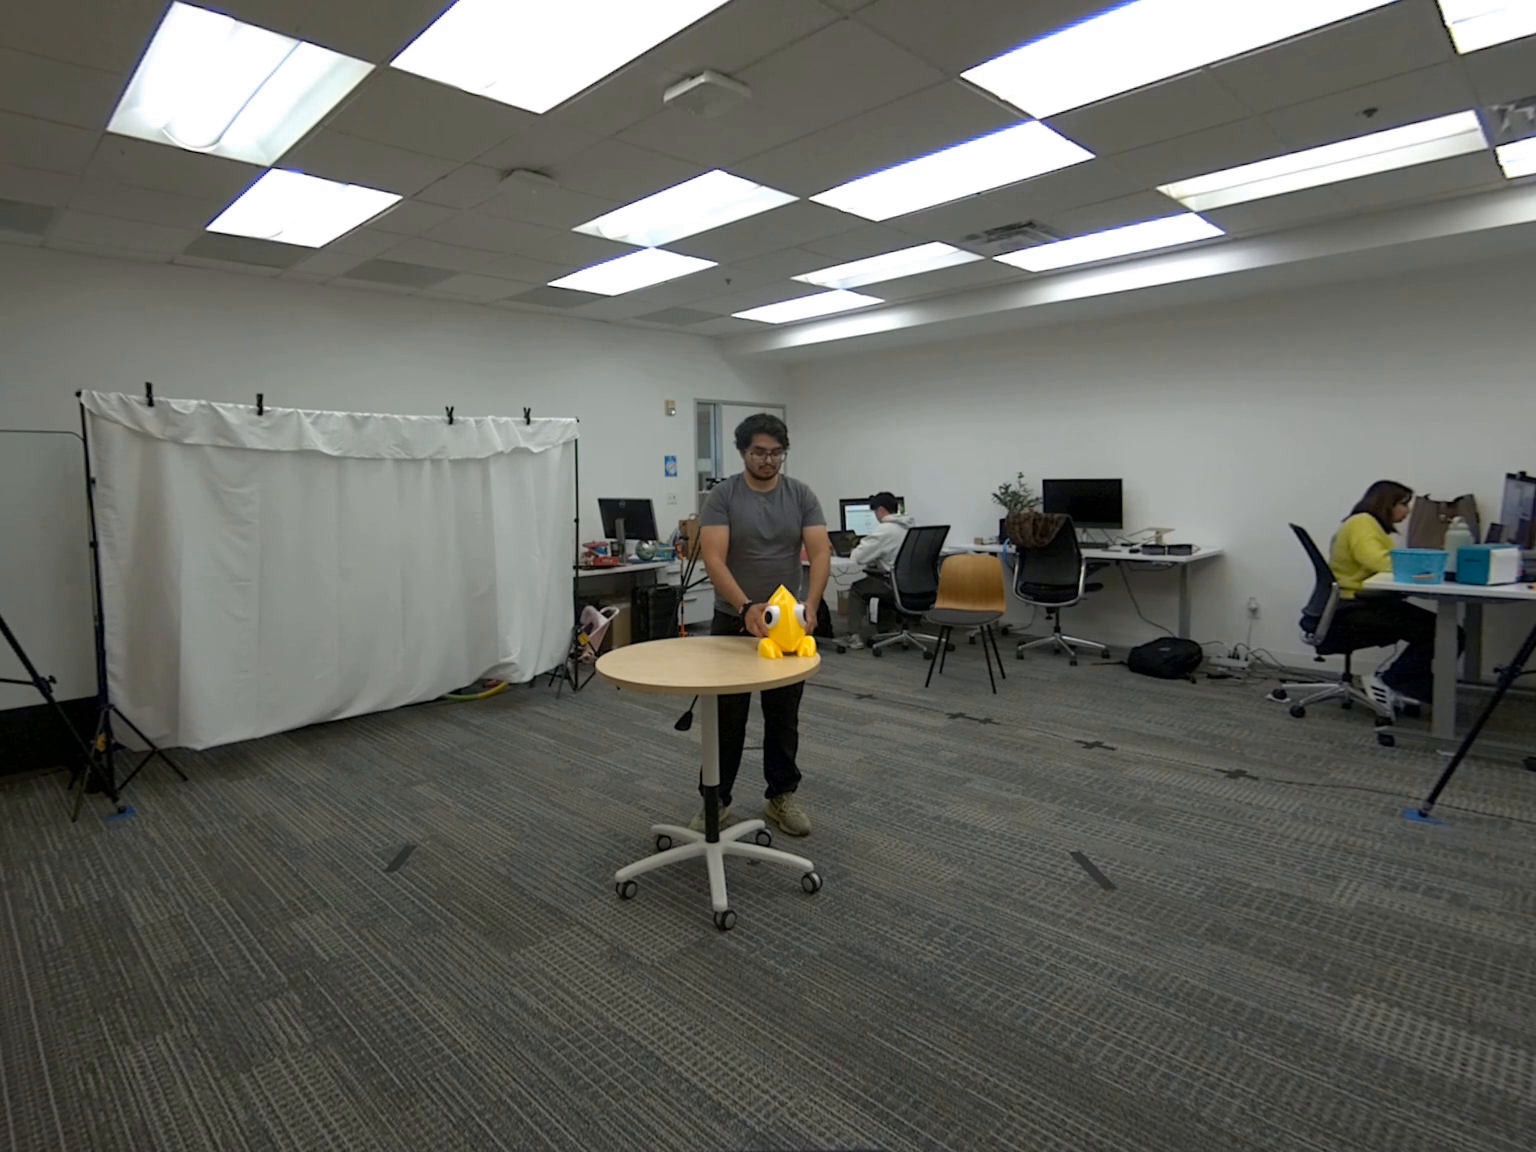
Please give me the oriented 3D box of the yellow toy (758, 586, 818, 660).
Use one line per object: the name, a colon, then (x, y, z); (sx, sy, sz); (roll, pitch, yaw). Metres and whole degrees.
yellow toy: (0.061, 0.156, 2.981); (0.203, 0.229, 0.195); (-4, 6, -8)
